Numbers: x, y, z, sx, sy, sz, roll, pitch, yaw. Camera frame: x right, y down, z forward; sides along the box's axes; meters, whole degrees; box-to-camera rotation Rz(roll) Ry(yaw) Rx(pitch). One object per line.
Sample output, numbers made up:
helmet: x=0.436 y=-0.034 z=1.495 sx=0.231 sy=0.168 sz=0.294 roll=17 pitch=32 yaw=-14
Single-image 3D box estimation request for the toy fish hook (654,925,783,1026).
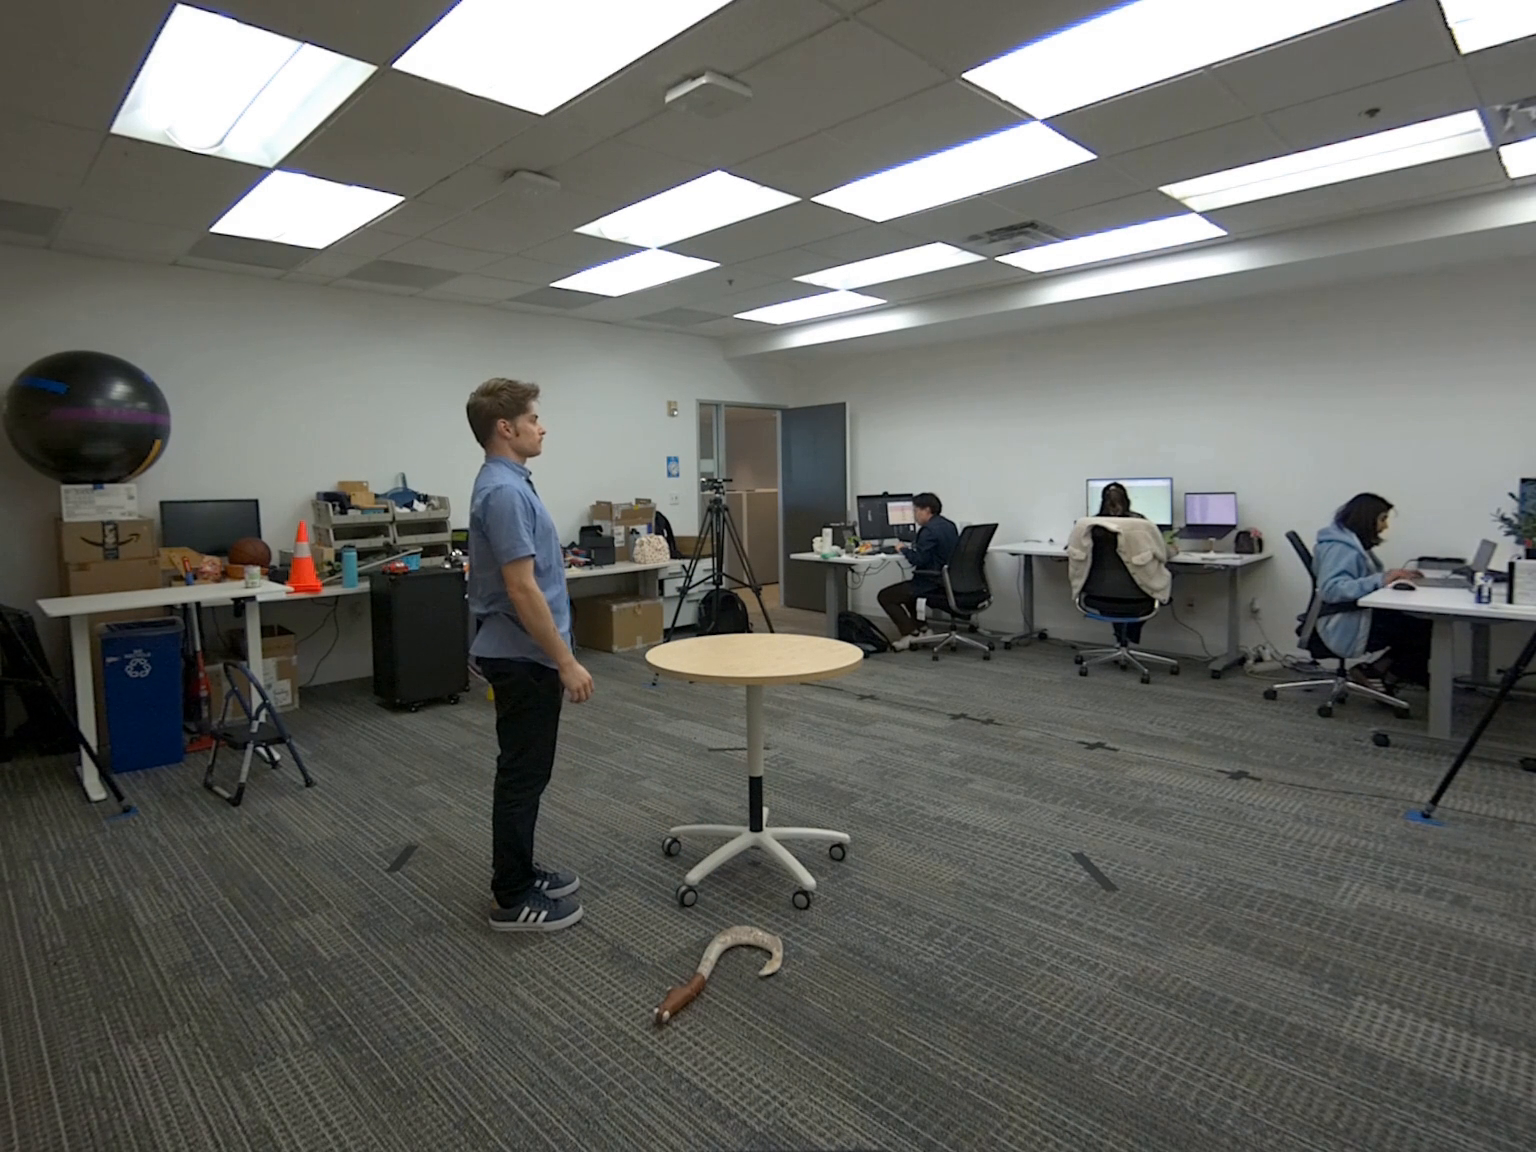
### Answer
toy fish hook: x=-0.115 y=1.109 z=2.381 sx=0.230 sy=0.048 sz=0.497 roll=2 pitch=8 yaw=27
